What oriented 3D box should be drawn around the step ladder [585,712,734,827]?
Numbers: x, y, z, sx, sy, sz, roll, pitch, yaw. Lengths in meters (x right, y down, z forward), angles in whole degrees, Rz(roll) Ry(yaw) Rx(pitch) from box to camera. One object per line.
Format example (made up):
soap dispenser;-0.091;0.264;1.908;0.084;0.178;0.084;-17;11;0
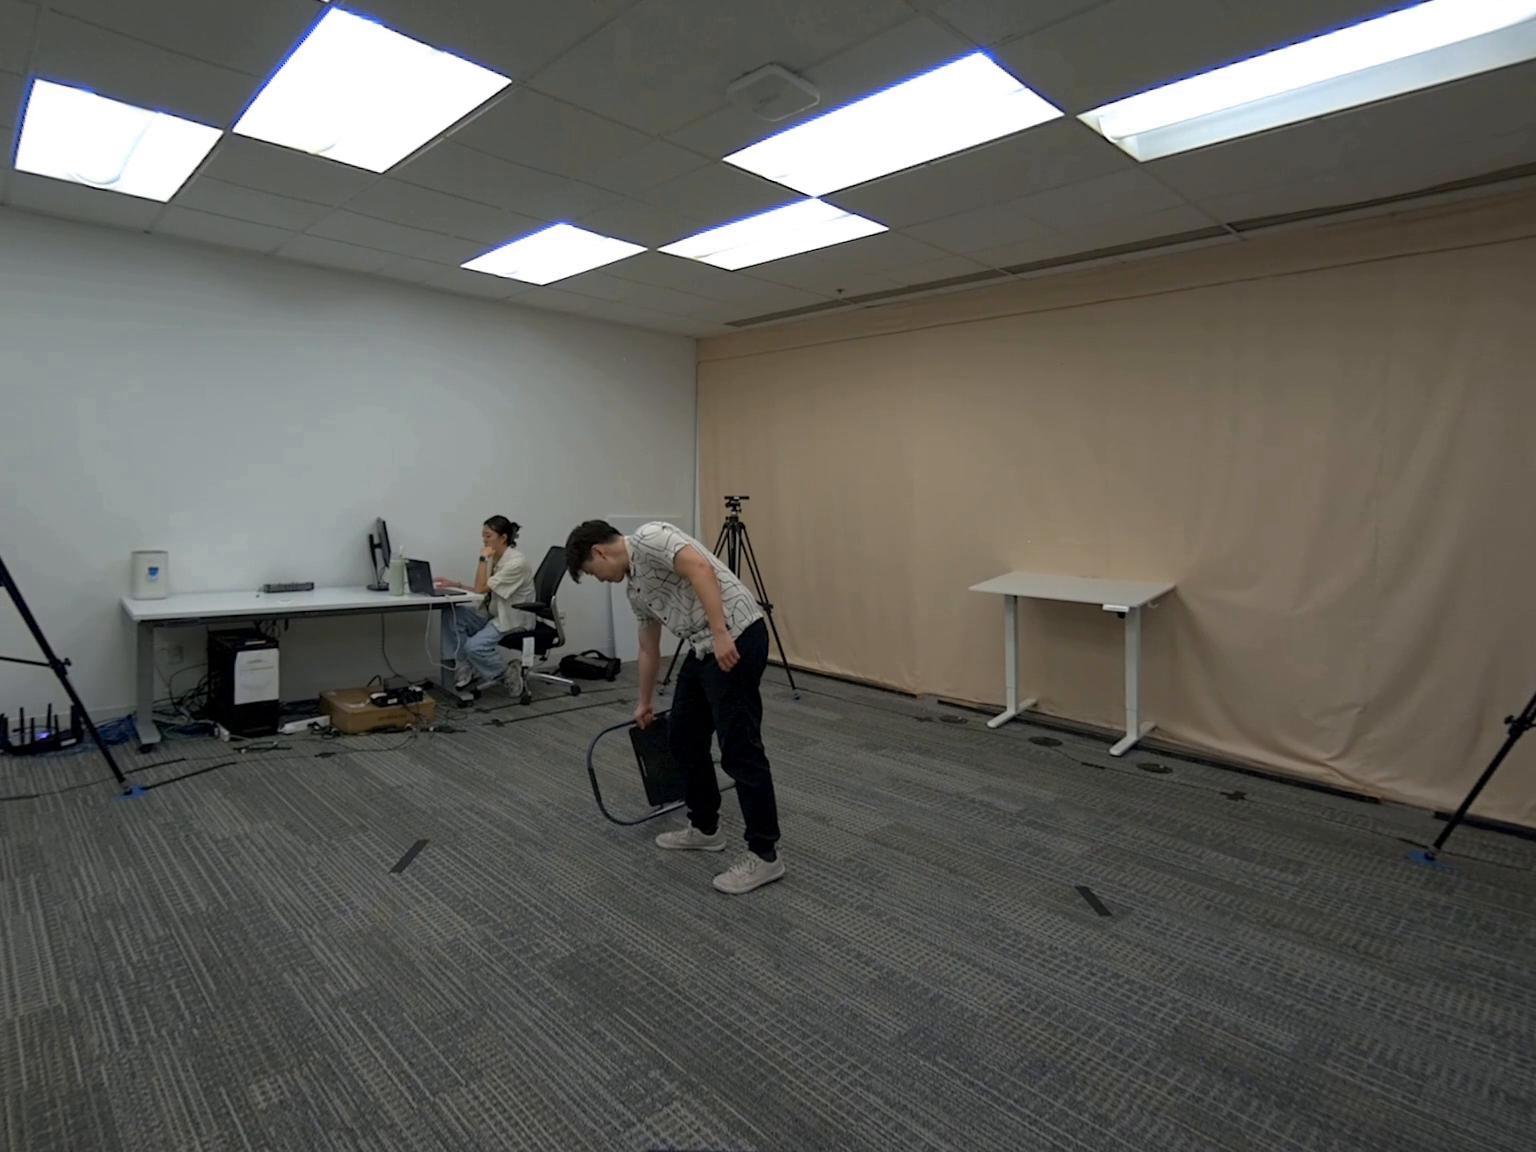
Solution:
step ladder;-0.489;0.796;3.584;0.353;0.434;0.594;-23;-10;32
